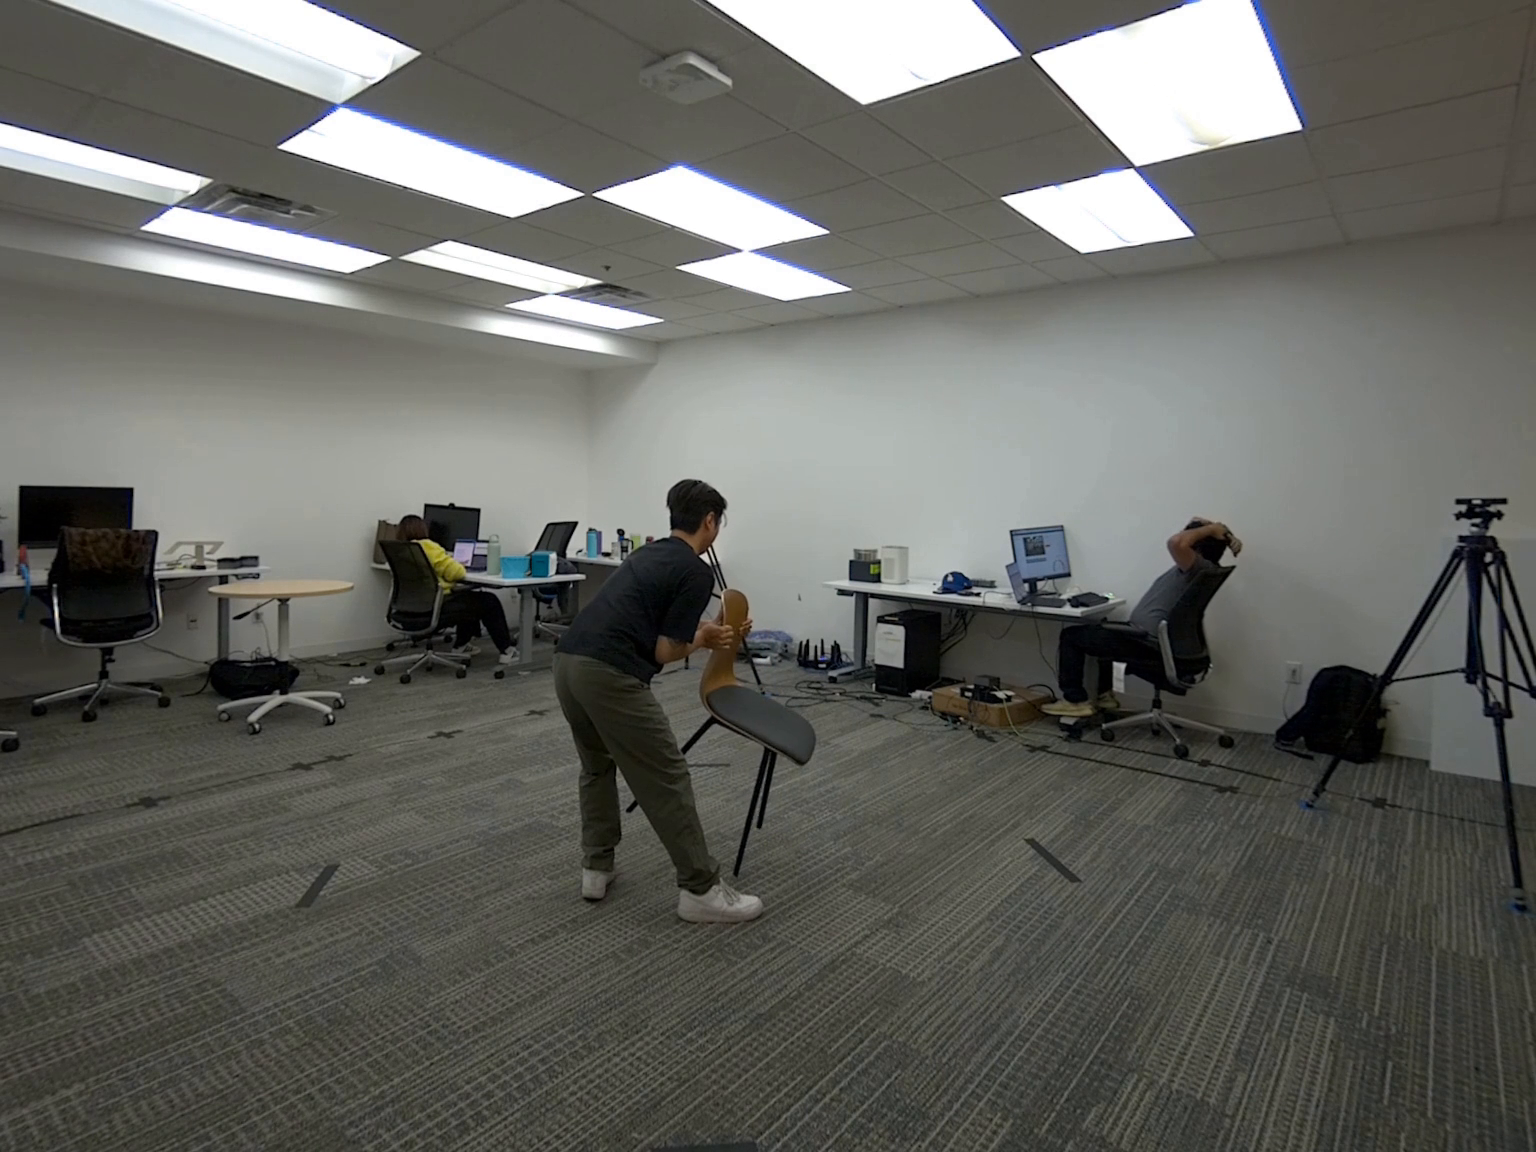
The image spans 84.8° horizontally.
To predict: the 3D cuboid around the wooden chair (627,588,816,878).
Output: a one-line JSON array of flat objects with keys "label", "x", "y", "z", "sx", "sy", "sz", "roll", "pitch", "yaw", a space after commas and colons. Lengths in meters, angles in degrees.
[{"label": "wooden chair", "x": -0.087, "y": 0.550, "z": 3.167, "sx": 0.532, "sy": 0.874, "sz": 0.472, "roll": 22, "pitch": 7, "yaw": 11}]
